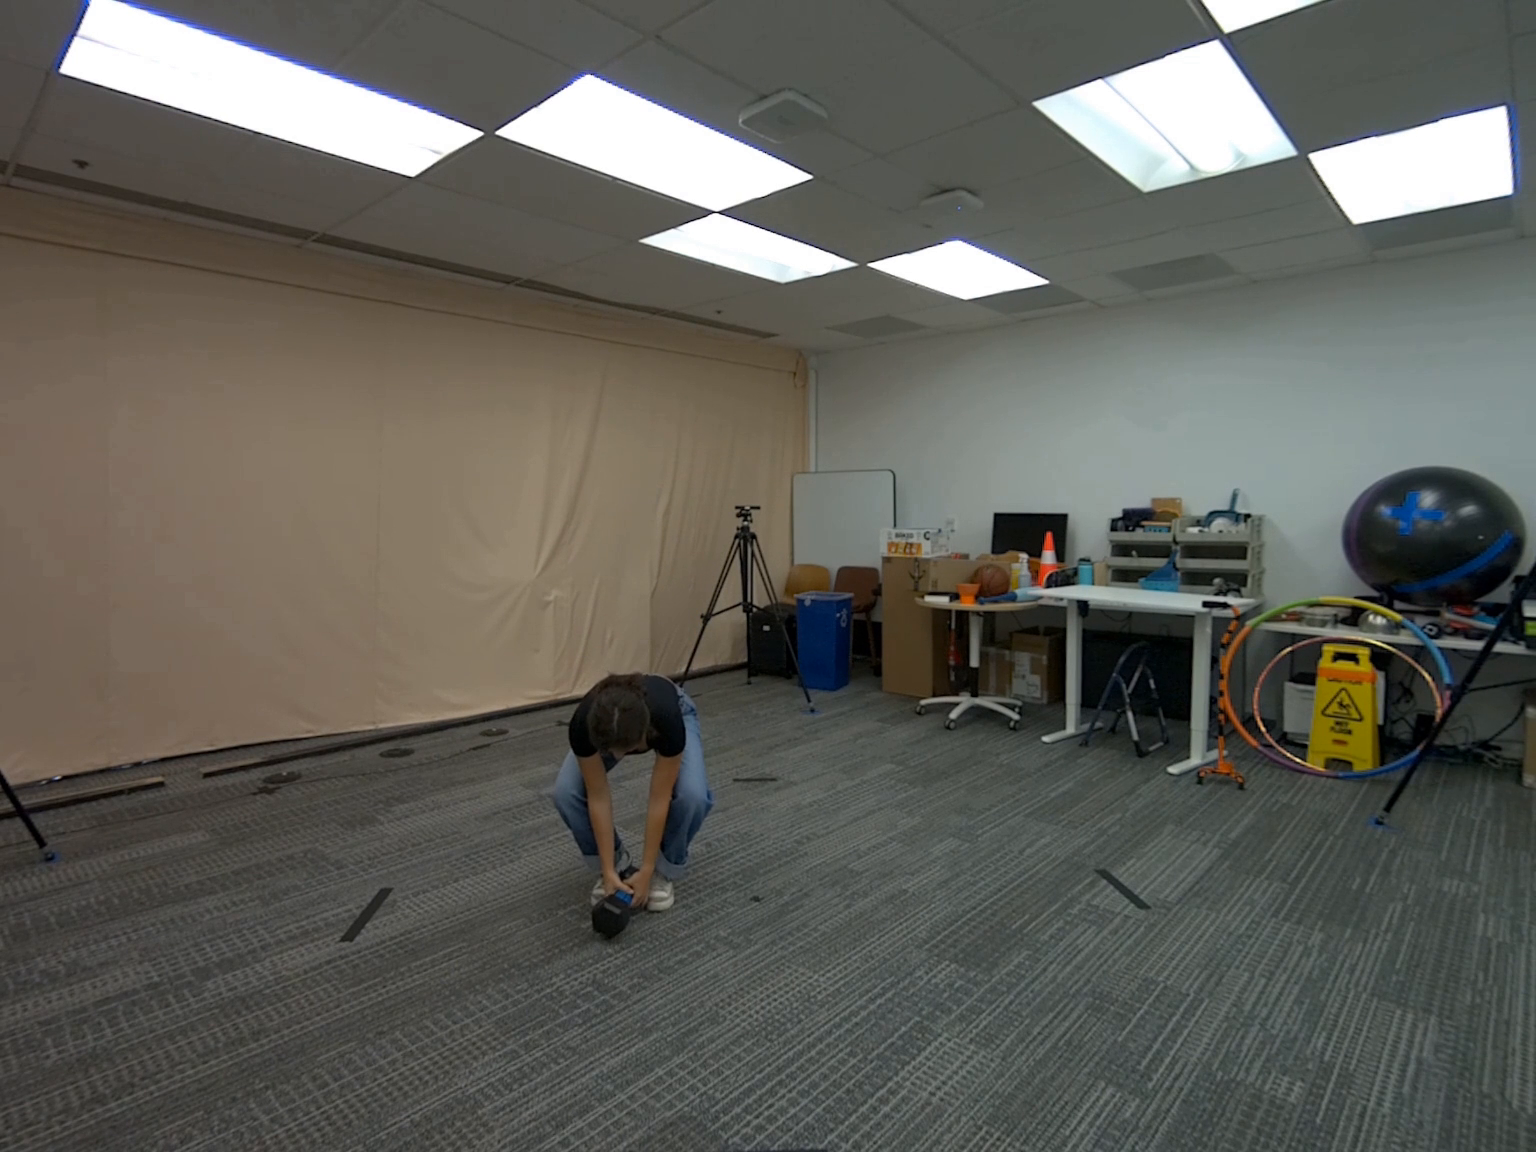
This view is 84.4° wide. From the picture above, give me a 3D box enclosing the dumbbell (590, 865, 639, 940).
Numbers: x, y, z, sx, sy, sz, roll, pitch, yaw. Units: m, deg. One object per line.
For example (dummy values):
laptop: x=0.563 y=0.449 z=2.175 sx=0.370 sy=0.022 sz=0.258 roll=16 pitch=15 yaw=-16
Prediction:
dumbbell: x=-0.487 y=1.083 z=2.790 sx=0.110 sy=0.123 sz=0.290 roll=-5 pitch=0 yaw=8
